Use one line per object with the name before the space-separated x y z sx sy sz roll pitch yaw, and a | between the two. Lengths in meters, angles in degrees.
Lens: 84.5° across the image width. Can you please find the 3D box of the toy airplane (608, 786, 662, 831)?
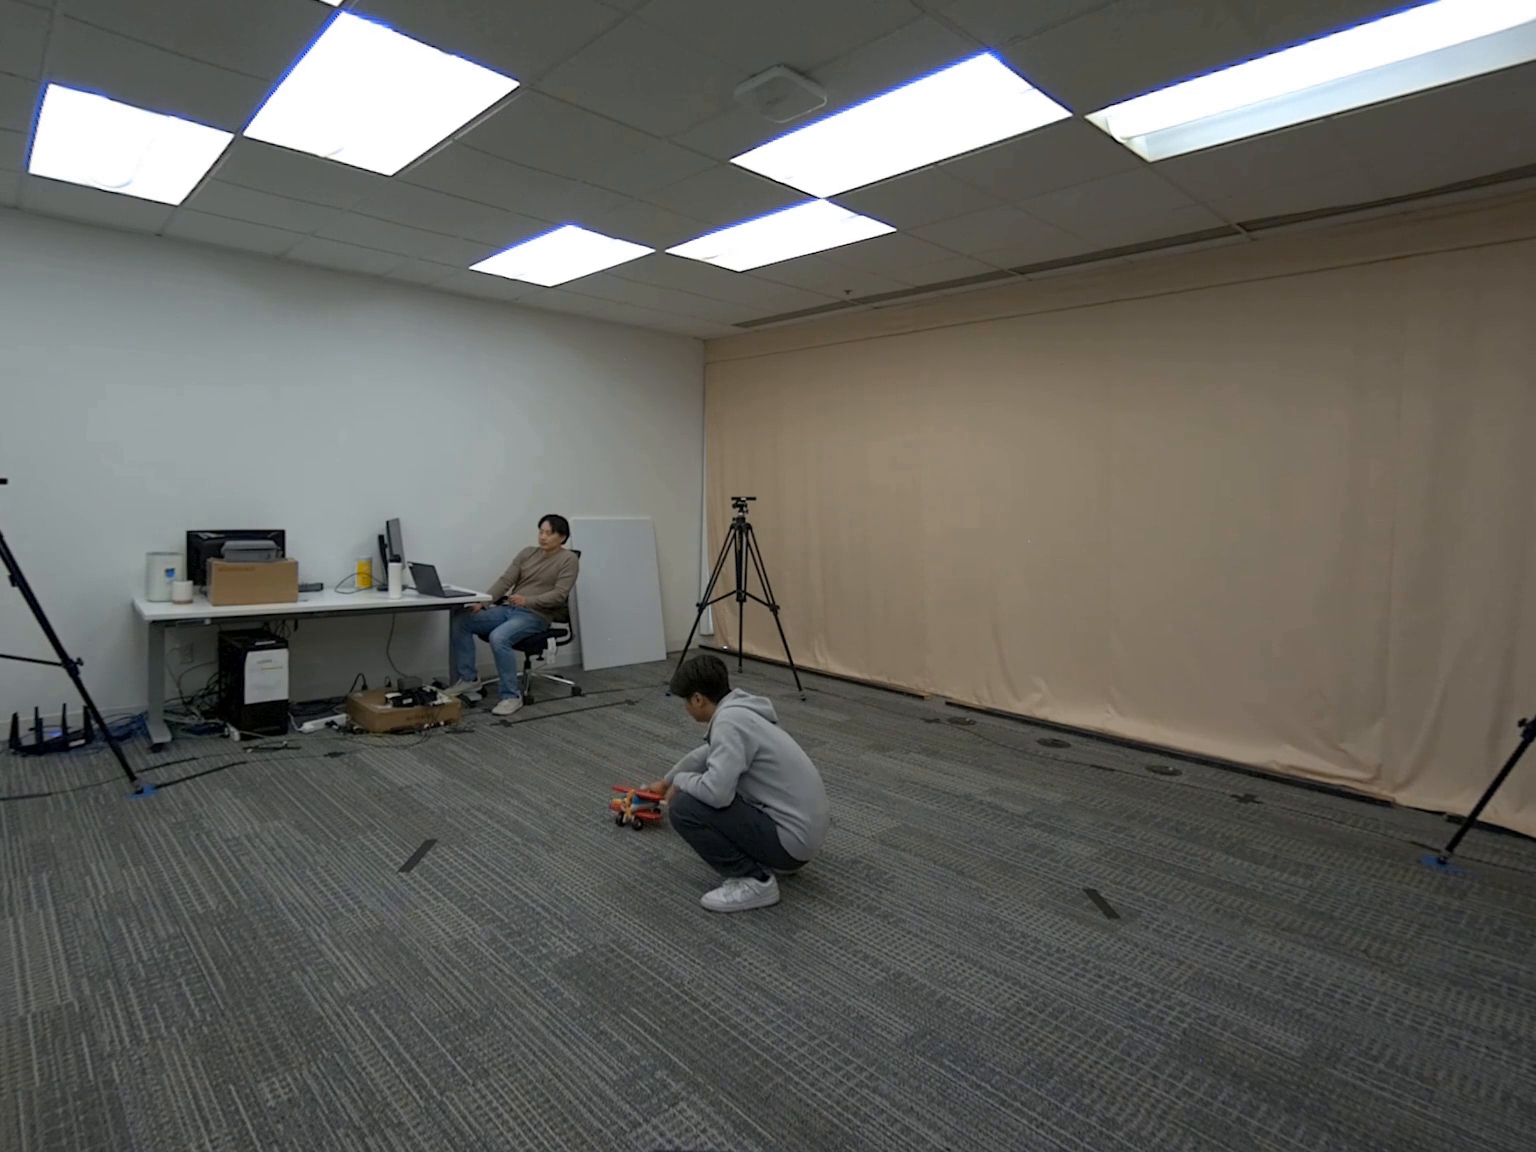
toy airplane | -0.566 0.977 3.612 0.251 0.156 0.260 1 6 0
